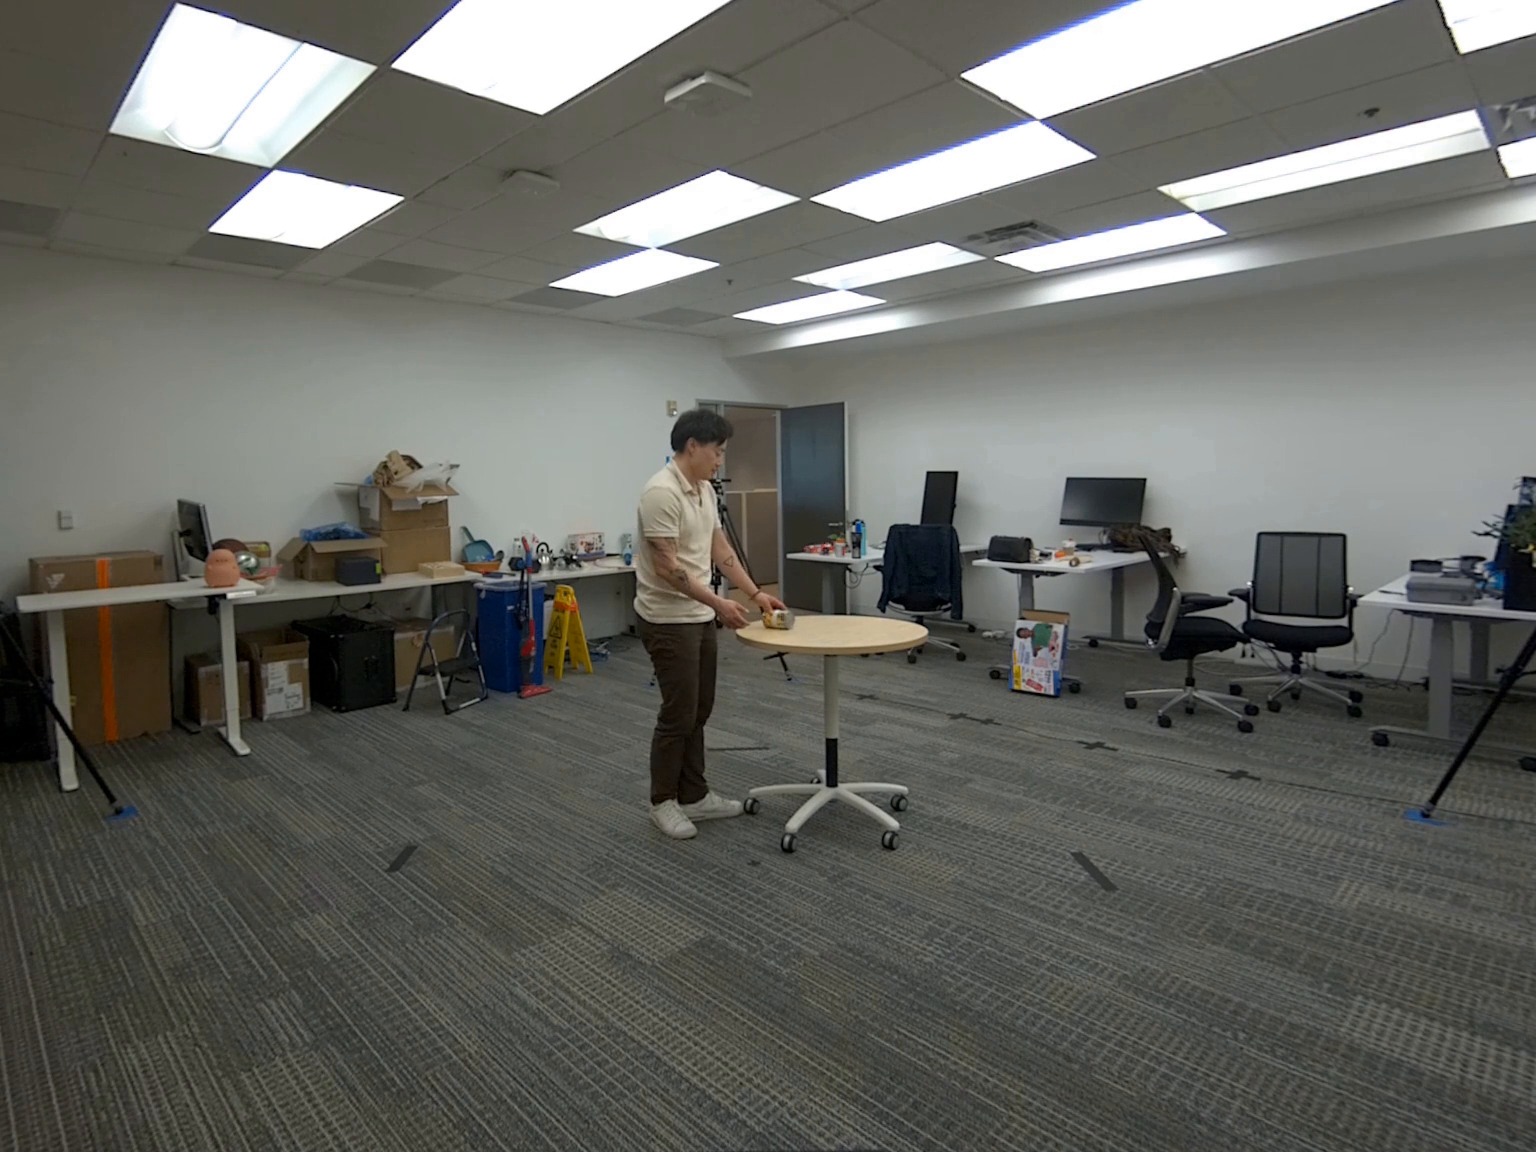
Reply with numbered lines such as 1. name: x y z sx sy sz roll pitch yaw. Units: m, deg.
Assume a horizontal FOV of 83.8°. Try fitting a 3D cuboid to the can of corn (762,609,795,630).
1. can of corn: 0.038 0.178 3.491 0.113 0.074 0.073 -2 4 20
